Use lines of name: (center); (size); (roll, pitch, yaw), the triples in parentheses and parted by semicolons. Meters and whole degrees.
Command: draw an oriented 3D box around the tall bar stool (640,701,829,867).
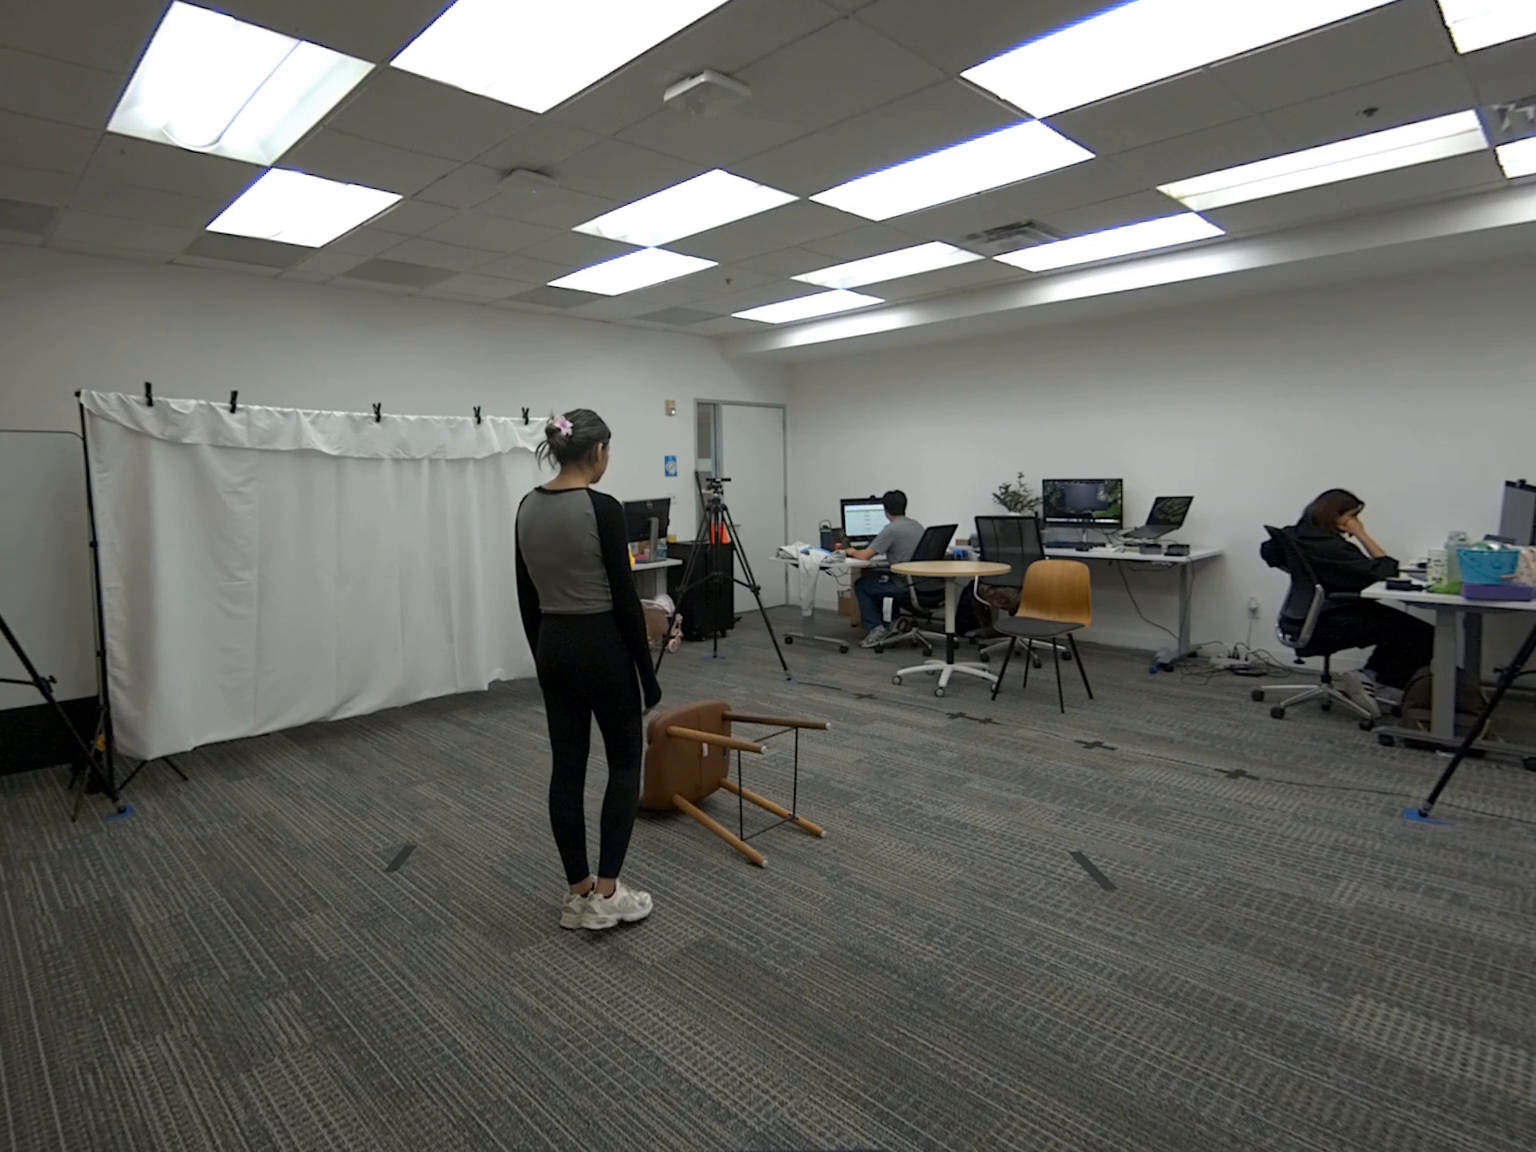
tall bar stool: (-0.221, 0.774, 3.474); (0.917, 0.465, 0.445); (4, 7, 43)
